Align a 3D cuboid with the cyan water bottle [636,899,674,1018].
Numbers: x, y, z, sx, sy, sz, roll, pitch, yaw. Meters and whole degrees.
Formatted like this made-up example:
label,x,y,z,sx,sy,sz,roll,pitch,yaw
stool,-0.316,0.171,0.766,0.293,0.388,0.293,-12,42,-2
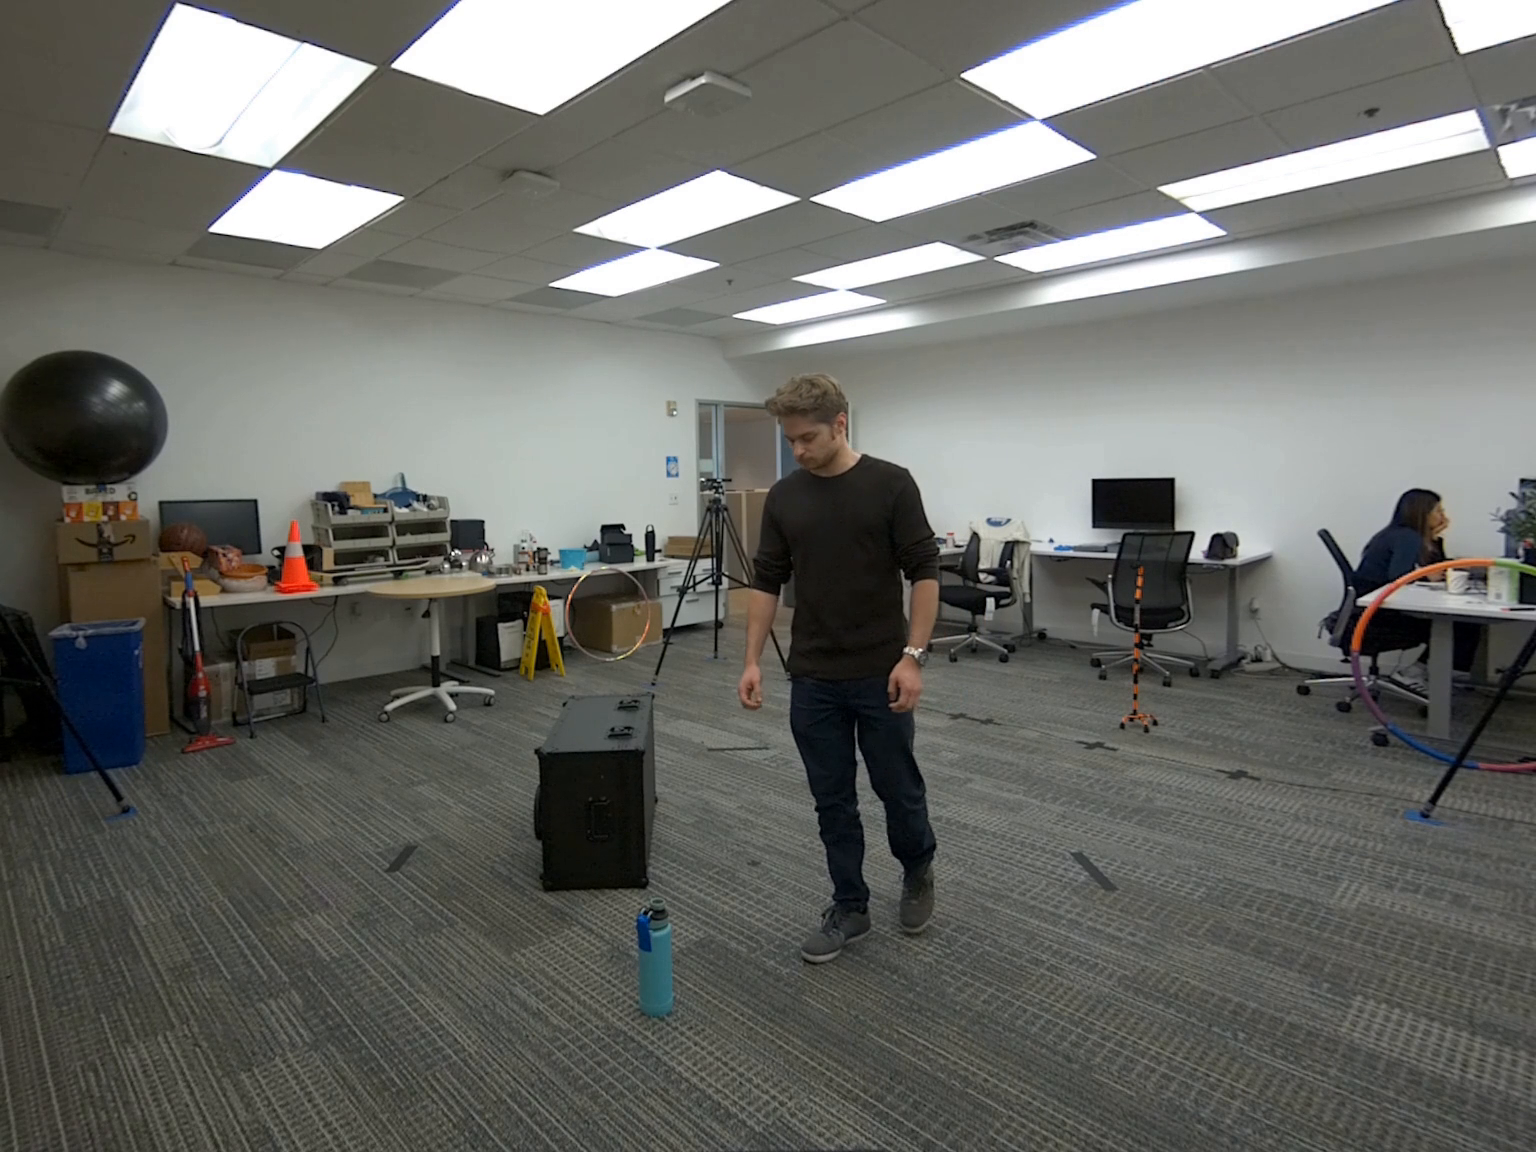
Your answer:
label,x,y,z,sx,sy,sz,roll,pitch,yaw
cyan water bottle,-0.294,1.010,2.261,0.092,0.282,0.093,-2,5,-1
